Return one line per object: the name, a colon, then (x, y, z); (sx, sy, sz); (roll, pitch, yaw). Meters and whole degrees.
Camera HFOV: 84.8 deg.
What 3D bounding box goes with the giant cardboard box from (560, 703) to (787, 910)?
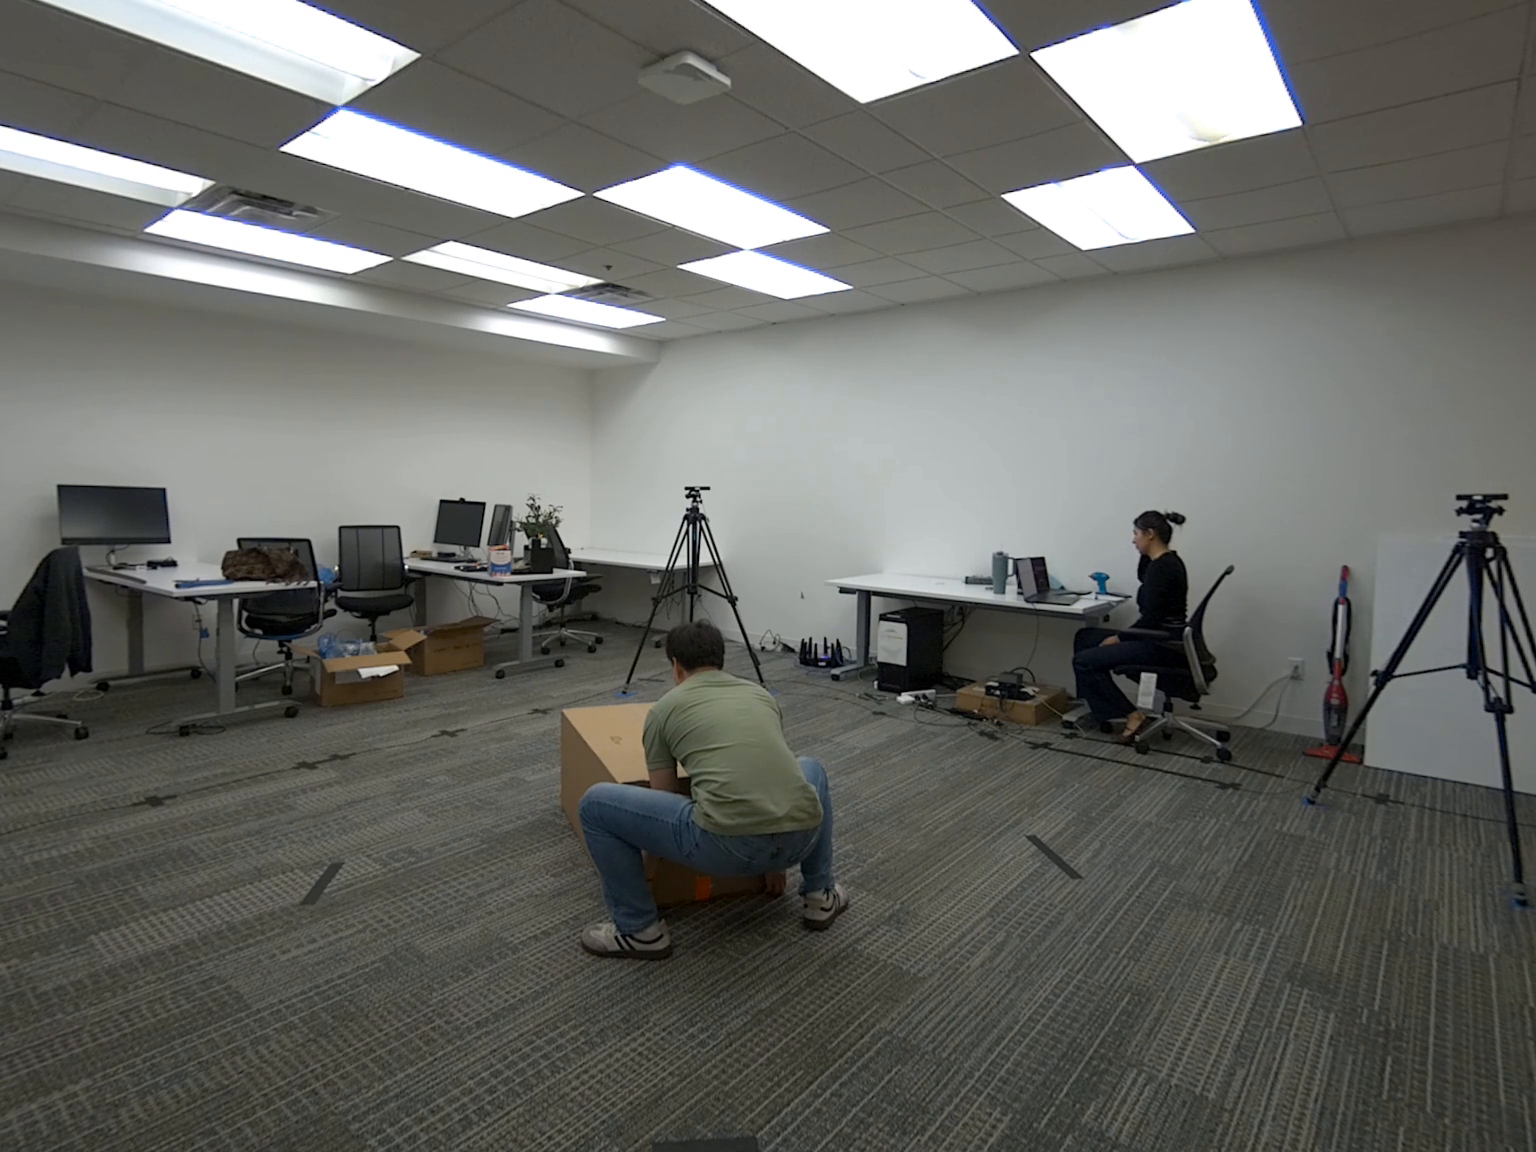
giant cardboard box: (-0.439, 0.823, 3.314); (0.565, 0.425, 1.052); (-1, 5, -23)
